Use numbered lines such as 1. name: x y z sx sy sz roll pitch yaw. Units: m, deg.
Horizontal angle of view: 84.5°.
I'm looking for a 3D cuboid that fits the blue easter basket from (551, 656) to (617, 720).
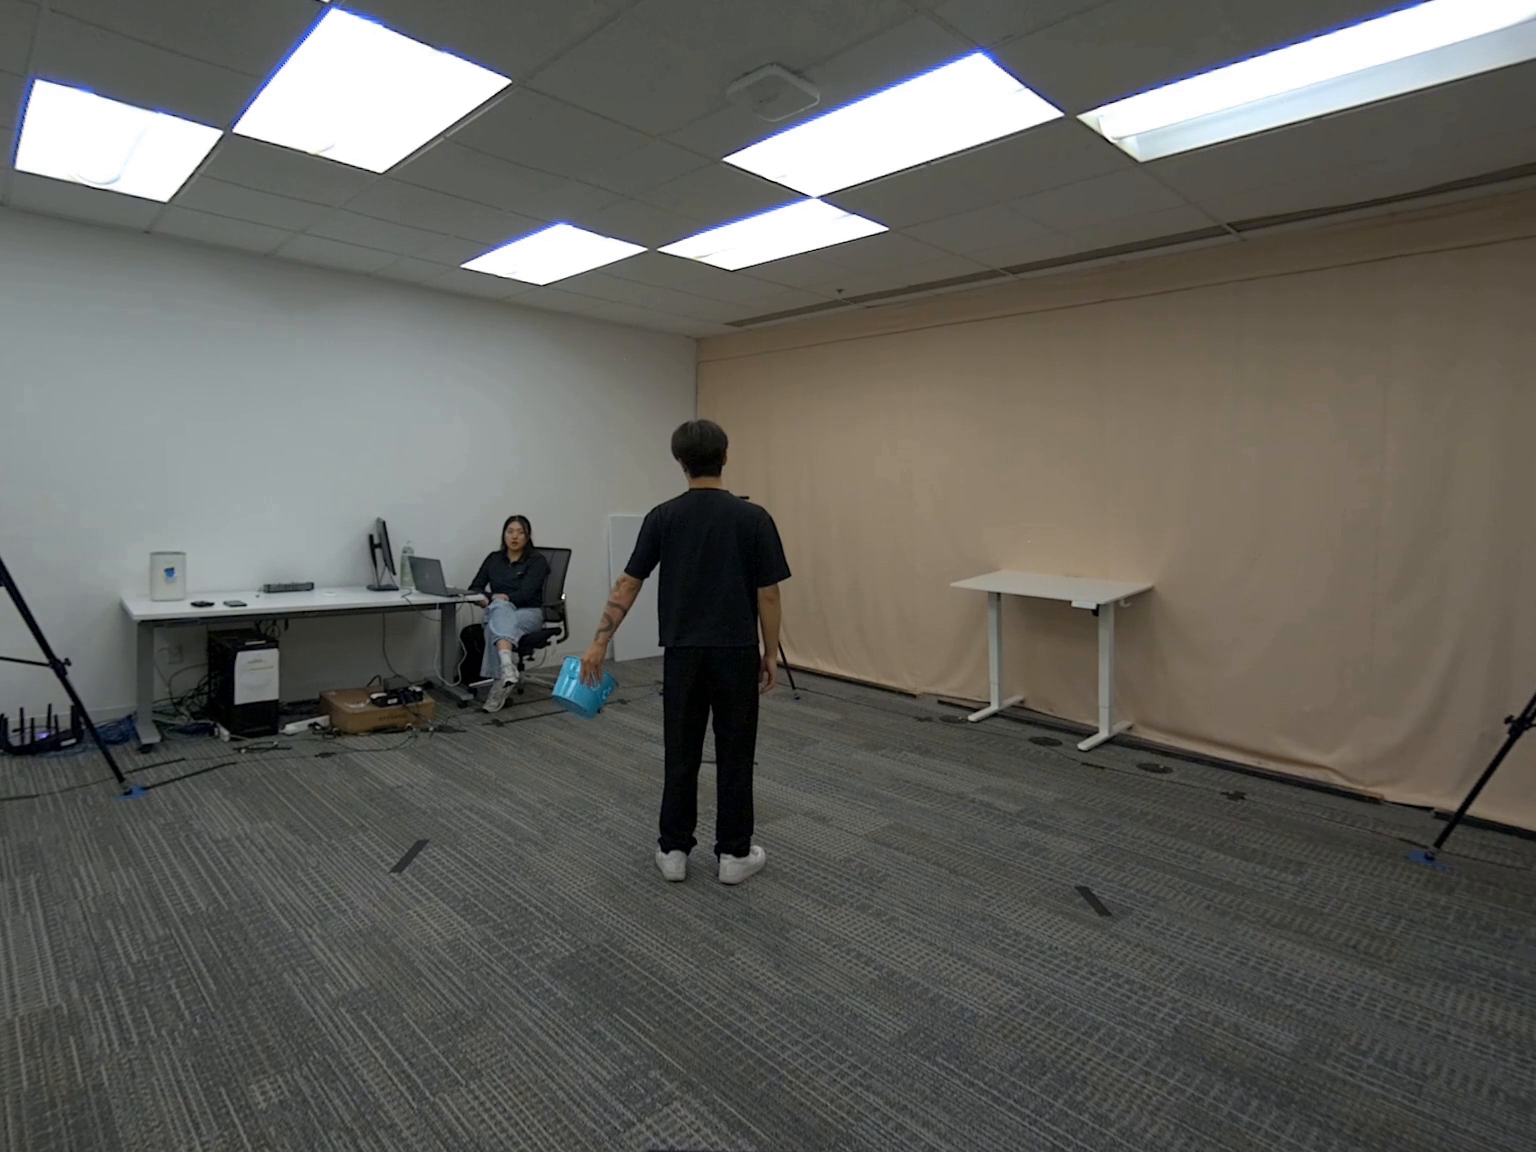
1. blue easter basket: -0.684 0.425 3.175 0.246 0.157 0.239 22 -25 9
